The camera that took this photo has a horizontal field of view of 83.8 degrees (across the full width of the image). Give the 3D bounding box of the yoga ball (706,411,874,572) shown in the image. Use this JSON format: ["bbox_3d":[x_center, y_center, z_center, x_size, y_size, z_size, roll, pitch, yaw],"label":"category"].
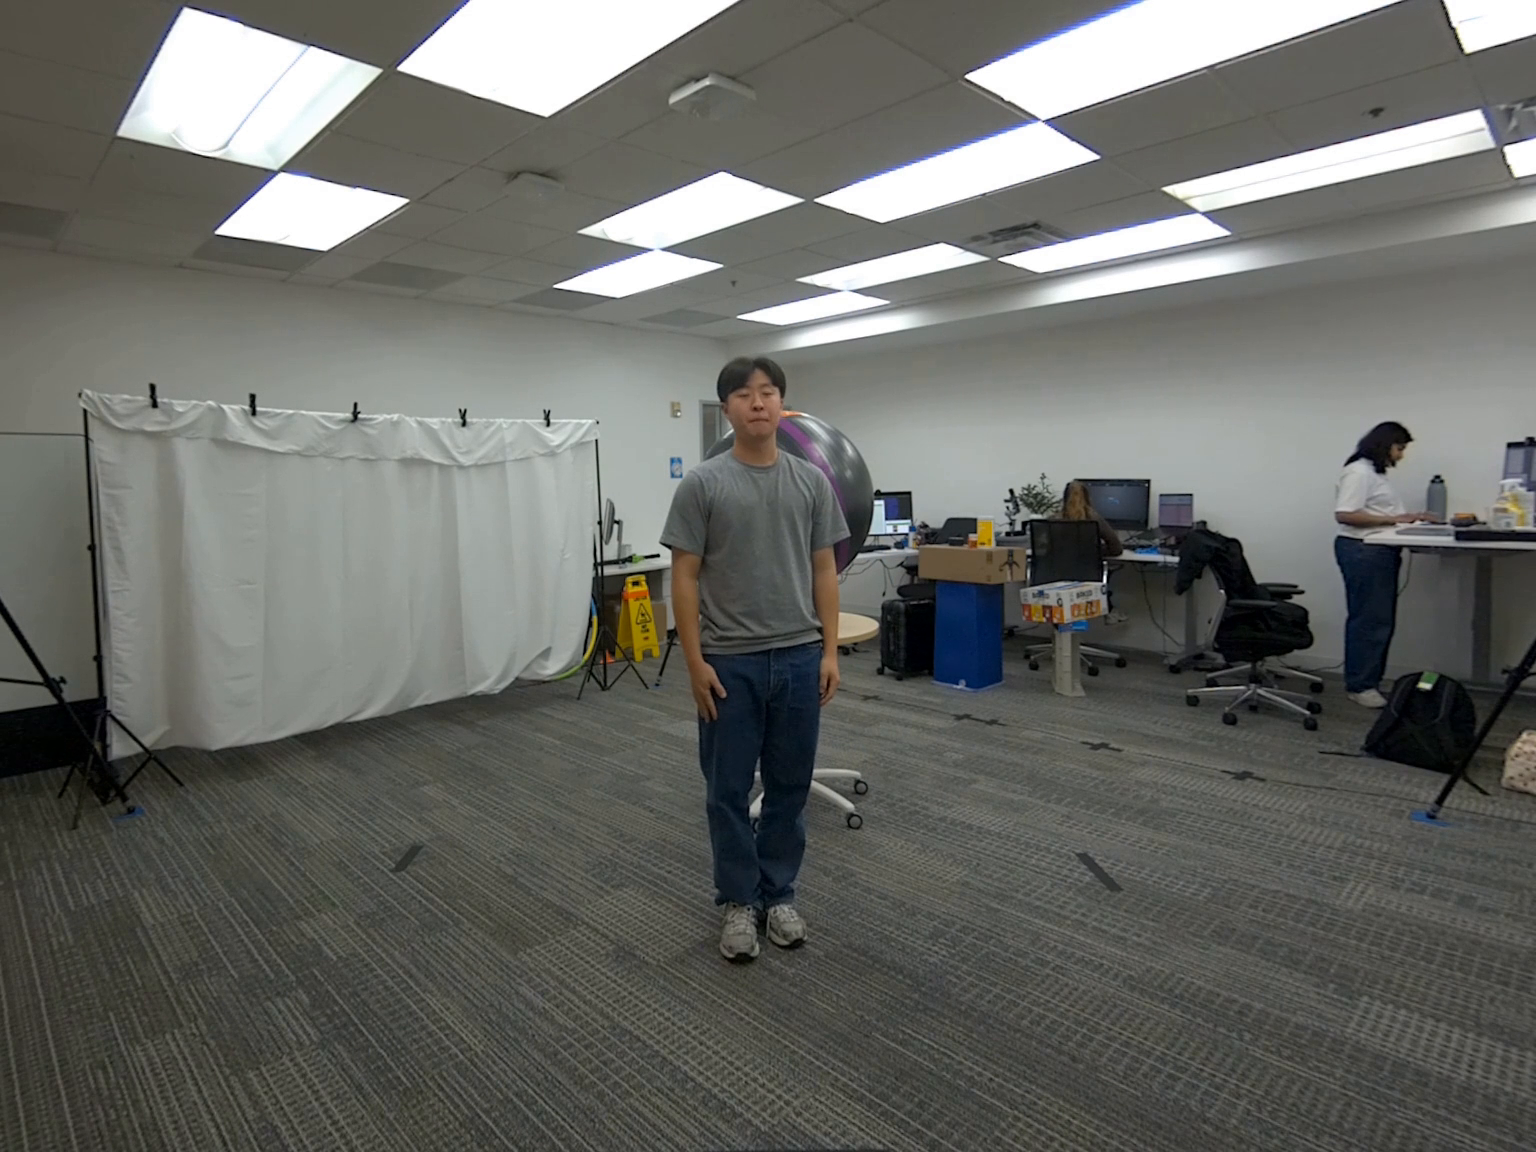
[{"bbox_3d":[0.062,-0.305,3.596,0.757,0.755,0.762,-1,5,-2],"label":"yoga ball"}]
